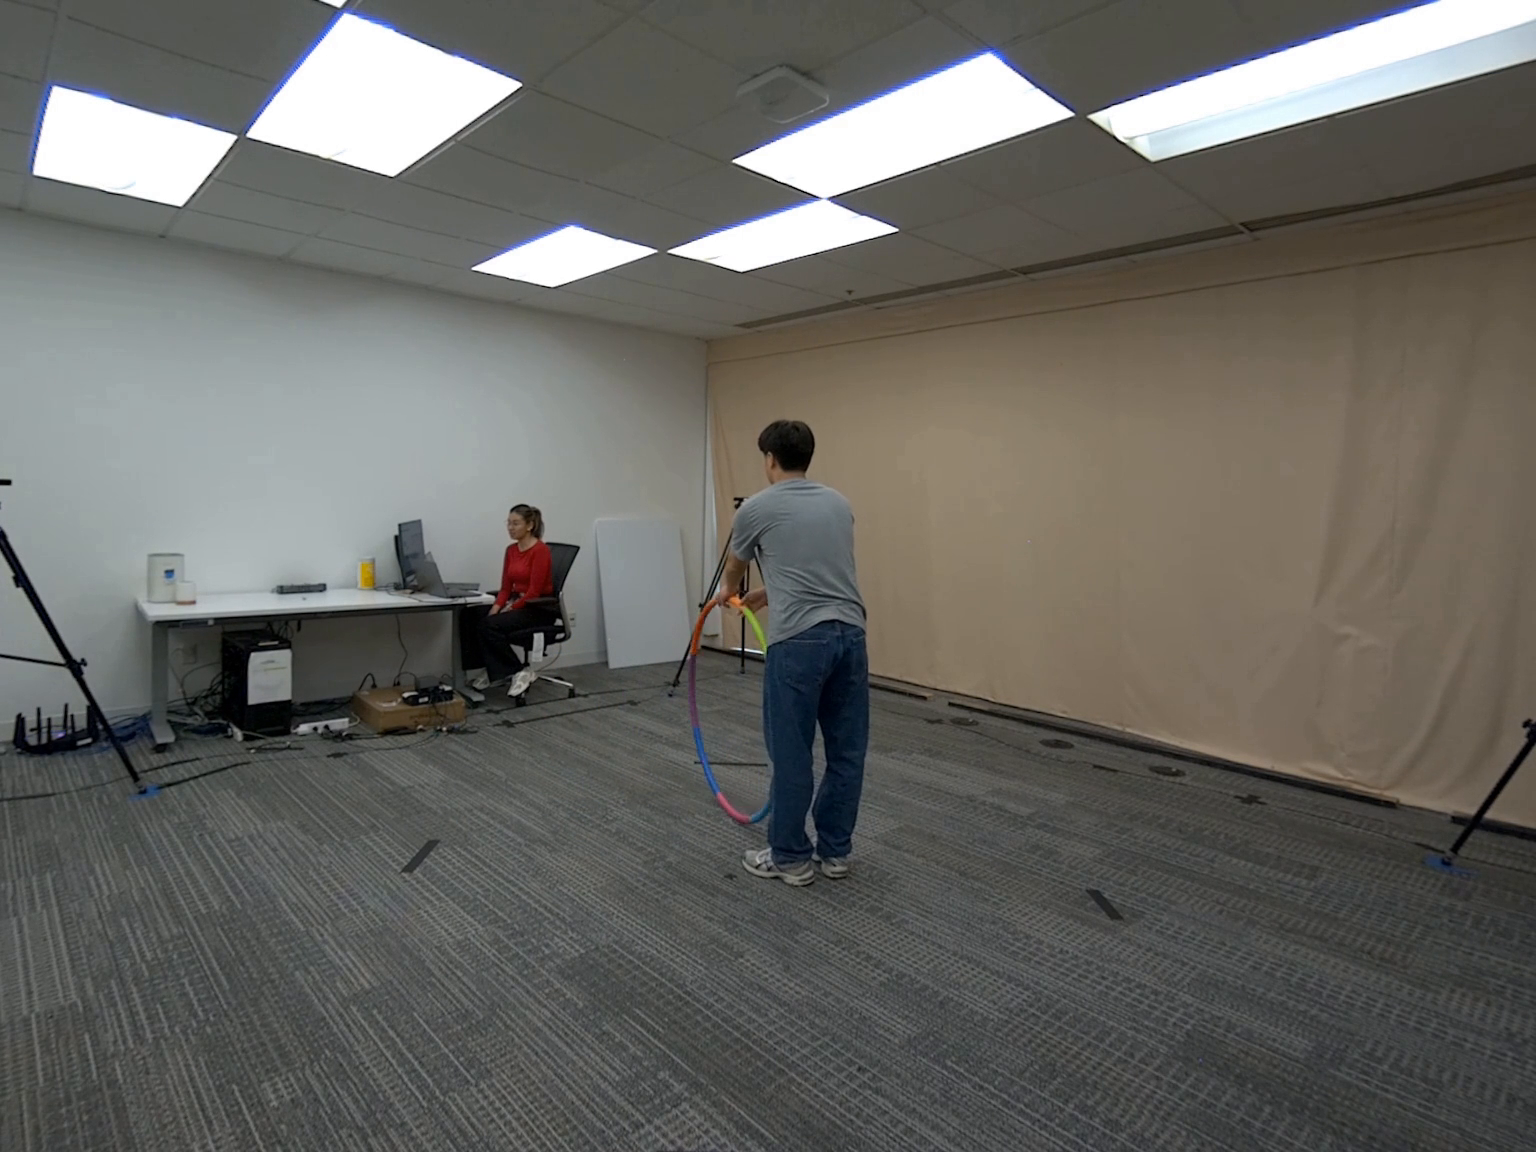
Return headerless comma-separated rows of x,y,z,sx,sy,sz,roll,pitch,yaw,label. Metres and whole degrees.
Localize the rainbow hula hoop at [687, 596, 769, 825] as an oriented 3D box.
-0.174,0.570,3.679,0.035,0.975,0.999,-3,5,-26,rainbow hula hoop
